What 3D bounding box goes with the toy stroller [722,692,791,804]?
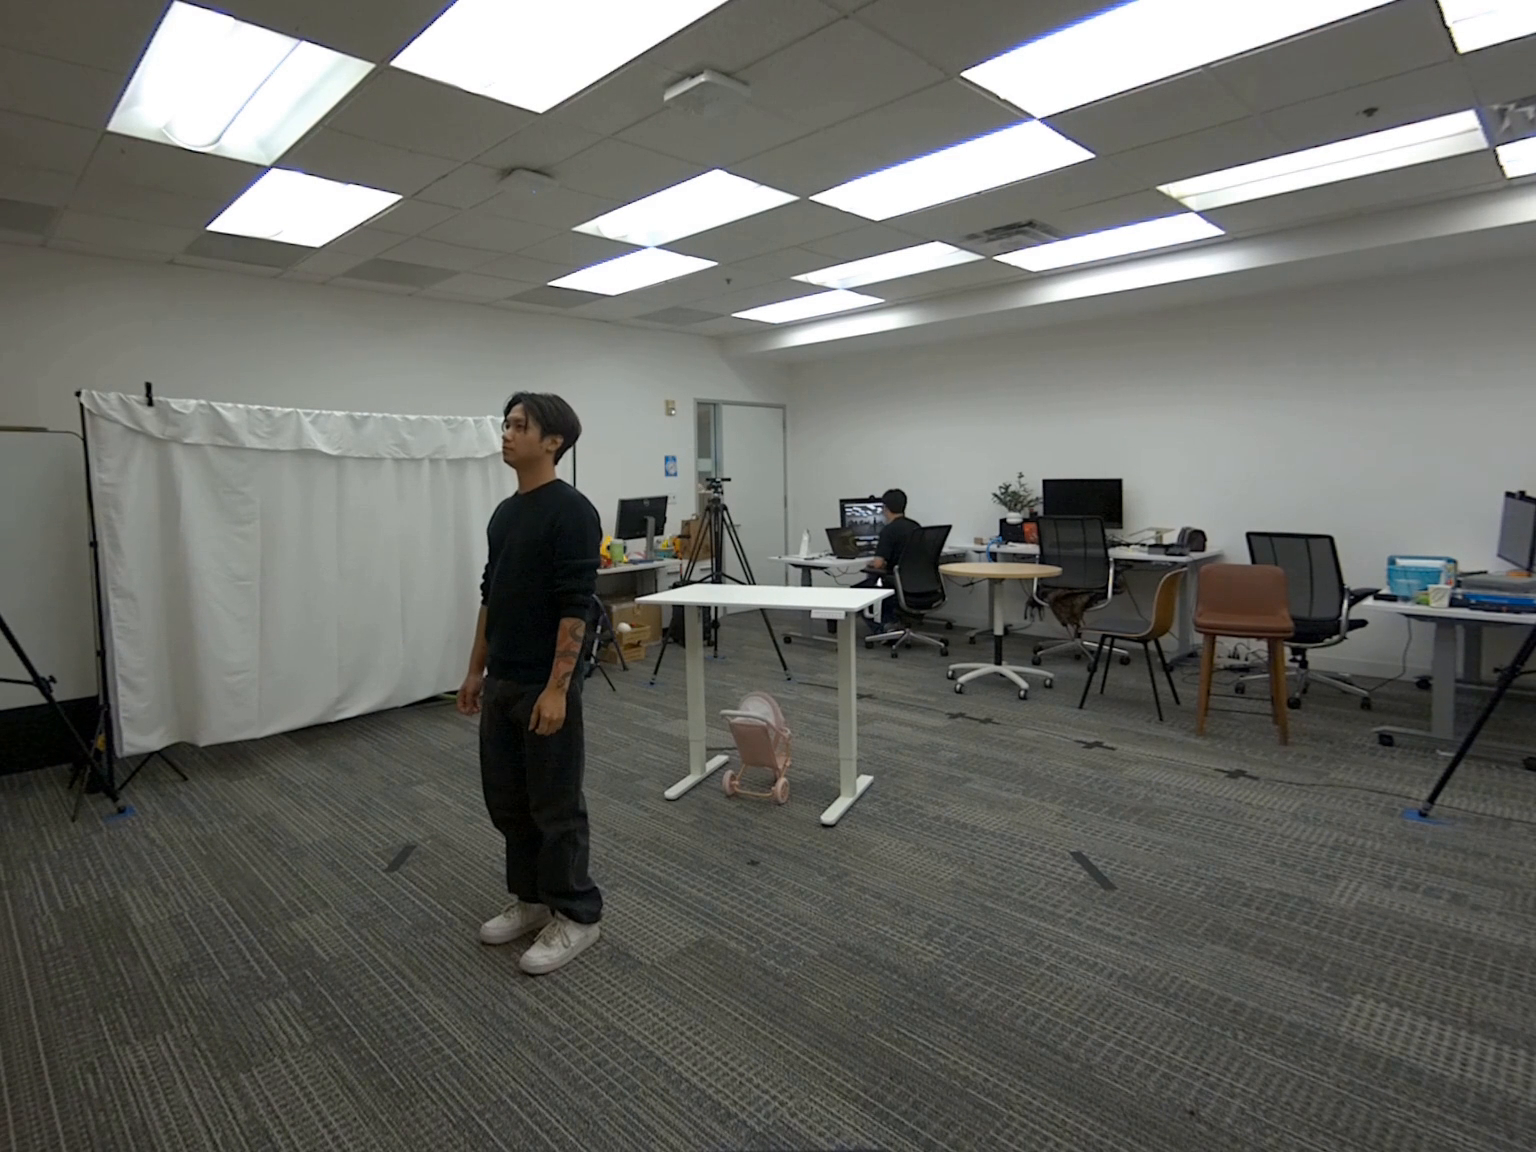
[{"bbox_3d":[-0.029,0.745,3.769,0.288,0.525,0.339,2,21,28],"label":"toy stroller"}]
